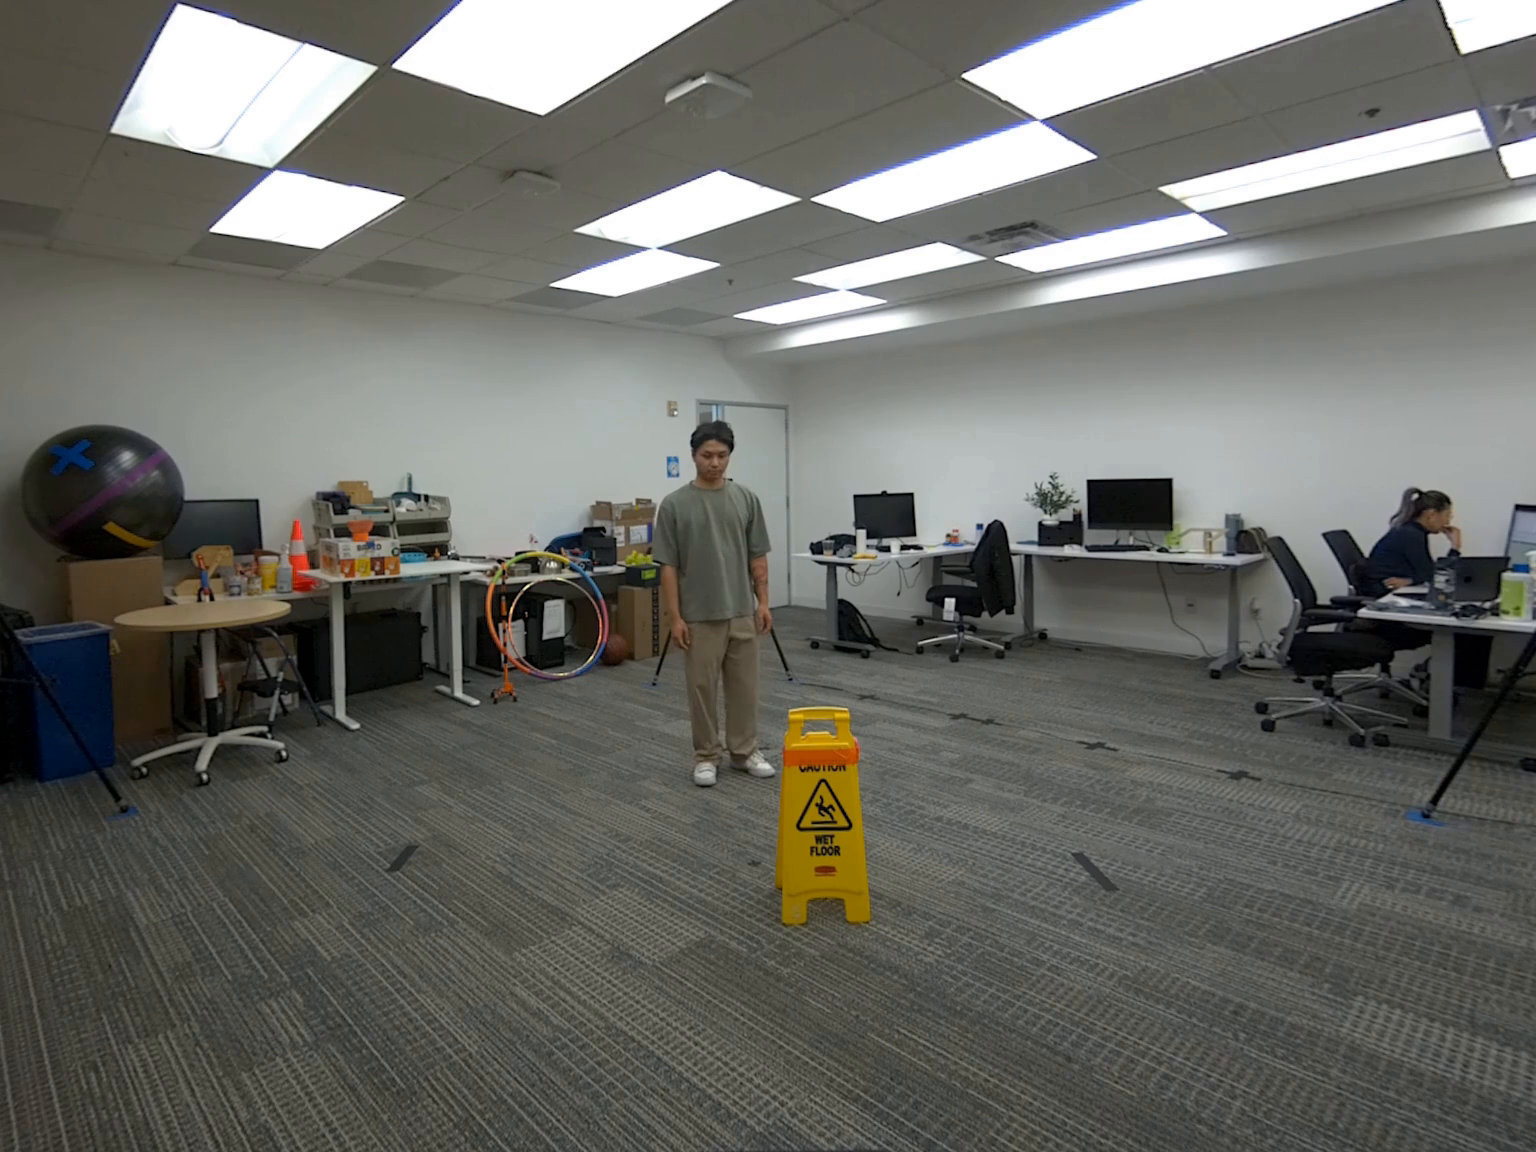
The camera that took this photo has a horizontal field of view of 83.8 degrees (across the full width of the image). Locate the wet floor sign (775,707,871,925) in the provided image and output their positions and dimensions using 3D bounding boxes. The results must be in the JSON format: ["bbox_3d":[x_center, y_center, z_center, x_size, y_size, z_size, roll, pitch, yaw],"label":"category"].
[{"bbox_3d":[0.167,0.758,2.784,0.282,0.643,0.292,-2,5,-3],"label":"wet floor sign"}]
